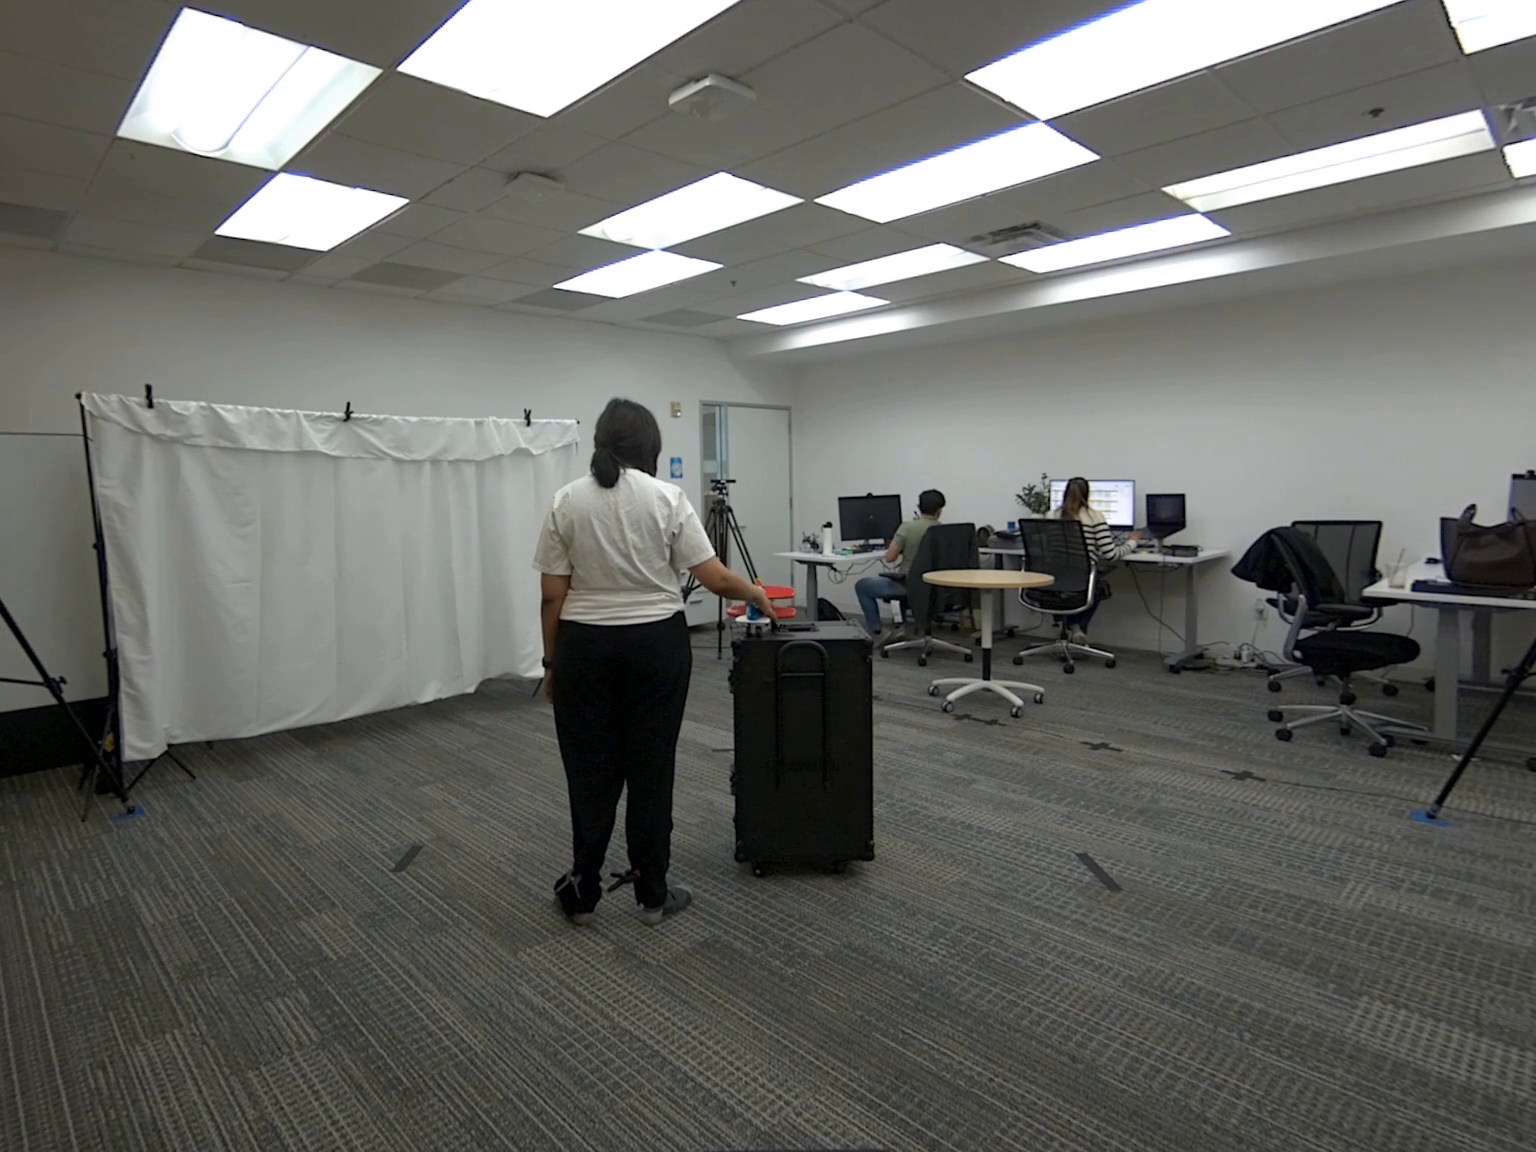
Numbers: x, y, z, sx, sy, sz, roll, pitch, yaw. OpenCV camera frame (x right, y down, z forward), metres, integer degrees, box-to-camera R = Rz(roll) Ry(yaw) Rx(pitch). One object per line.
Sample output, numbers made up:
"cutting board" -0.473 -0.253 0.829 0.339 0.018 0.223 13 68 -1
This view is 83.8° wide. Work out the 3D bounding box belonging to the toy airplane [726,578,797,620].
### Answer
"toy airplane" -0.016 0.120 3.080 0.248 0.155 0.264 0 8 -14
